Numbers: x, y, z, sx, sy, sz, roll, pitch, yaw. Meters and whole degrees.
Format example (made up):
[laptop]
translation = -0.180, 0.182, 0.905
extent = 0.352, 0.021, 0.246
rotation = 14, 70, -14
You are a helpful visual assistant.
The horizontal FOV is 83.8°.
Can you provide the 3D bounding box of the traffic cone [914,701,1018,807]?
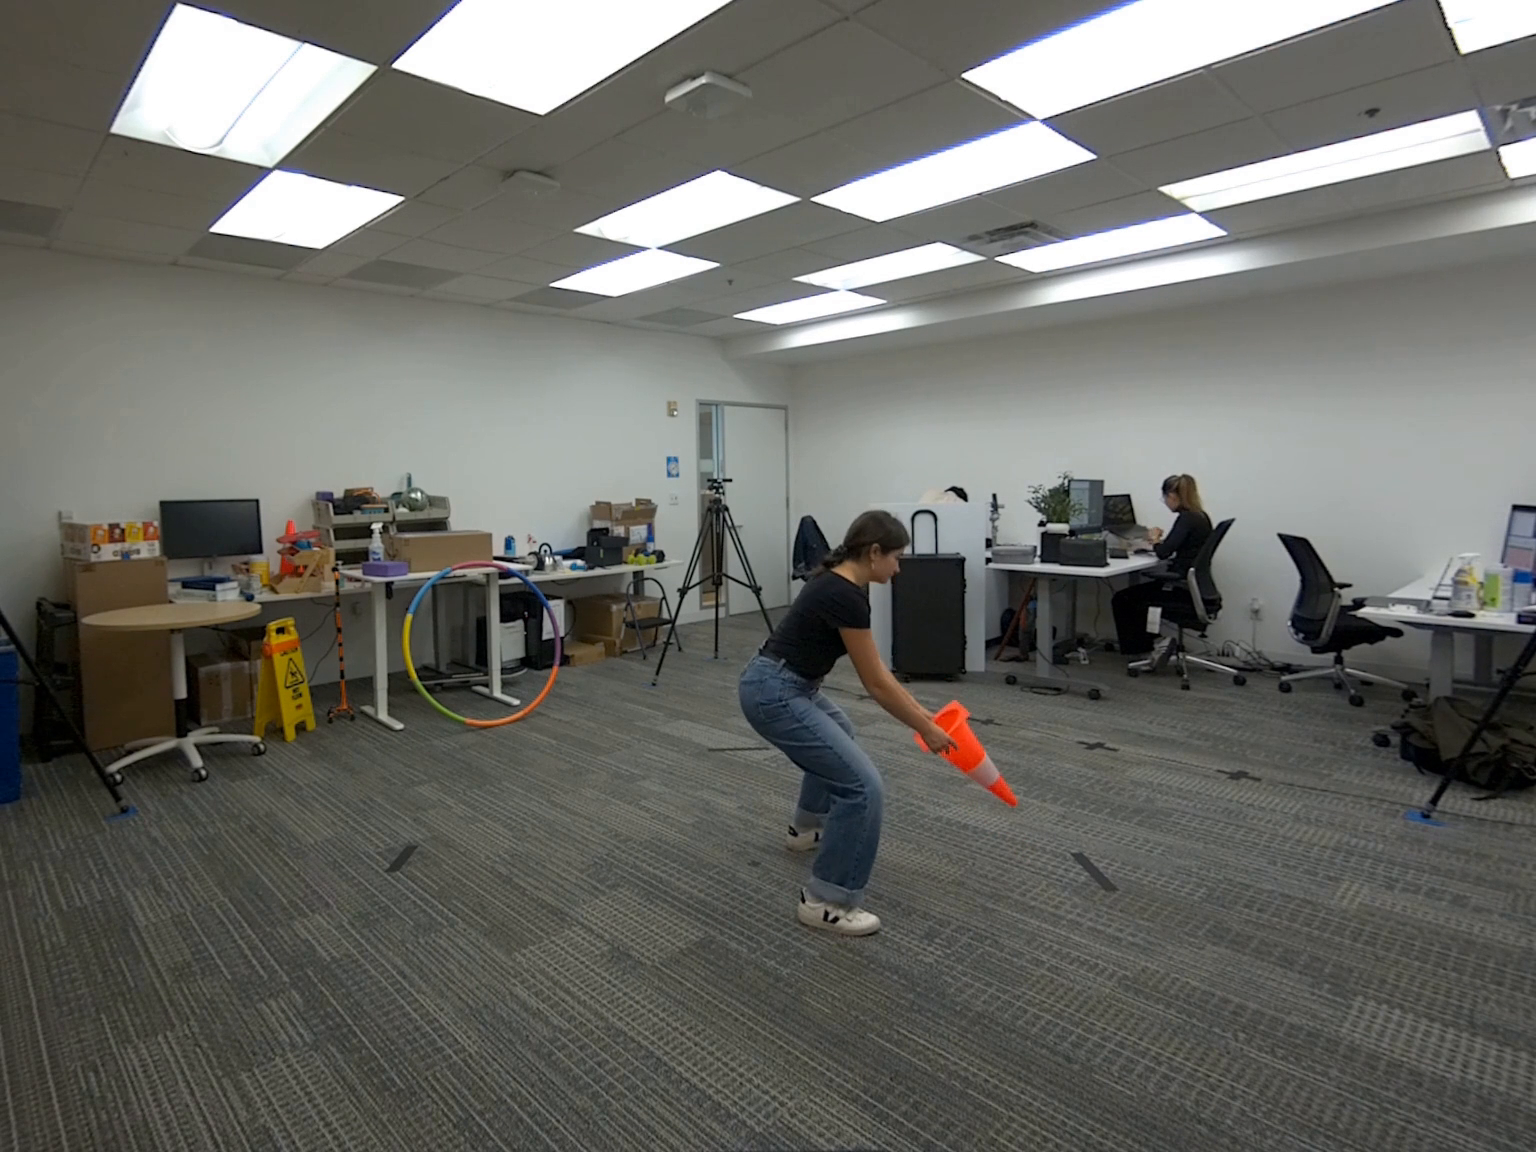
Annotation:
[traffic cone]
translation = 0.719, 0.639, 2.933
extent = 0.205, 0.380, 0.205
rotation = -45, 7, 3
